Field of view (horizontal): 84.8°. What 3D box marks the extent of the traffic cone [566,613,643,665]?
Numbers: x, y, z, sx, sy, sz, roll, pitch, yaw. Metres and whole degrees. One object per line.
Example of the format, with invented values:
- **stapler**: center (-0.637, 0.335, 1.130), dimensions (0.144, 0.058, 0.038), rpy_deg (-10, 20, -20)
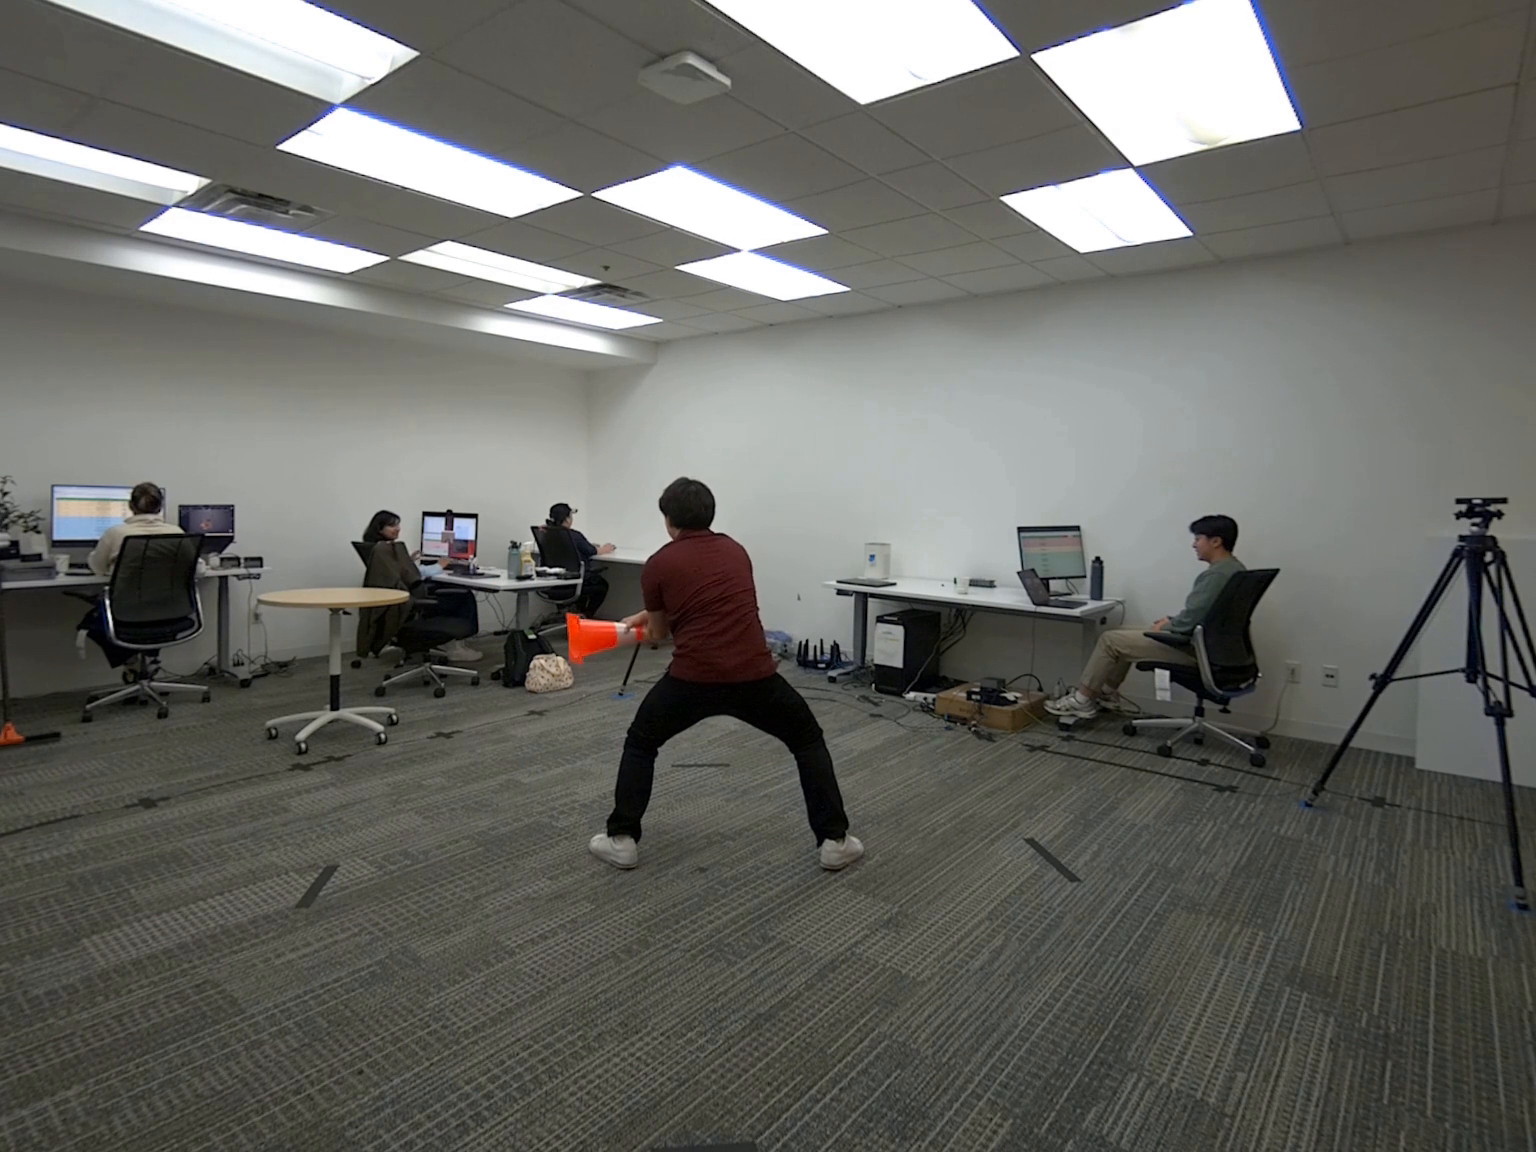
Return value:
- **traffic cone**: center (-0.642, 0.253, 3.548), dimensions (0.375, 0.204, 0.209), rpy_deg (0, -2, -23)
